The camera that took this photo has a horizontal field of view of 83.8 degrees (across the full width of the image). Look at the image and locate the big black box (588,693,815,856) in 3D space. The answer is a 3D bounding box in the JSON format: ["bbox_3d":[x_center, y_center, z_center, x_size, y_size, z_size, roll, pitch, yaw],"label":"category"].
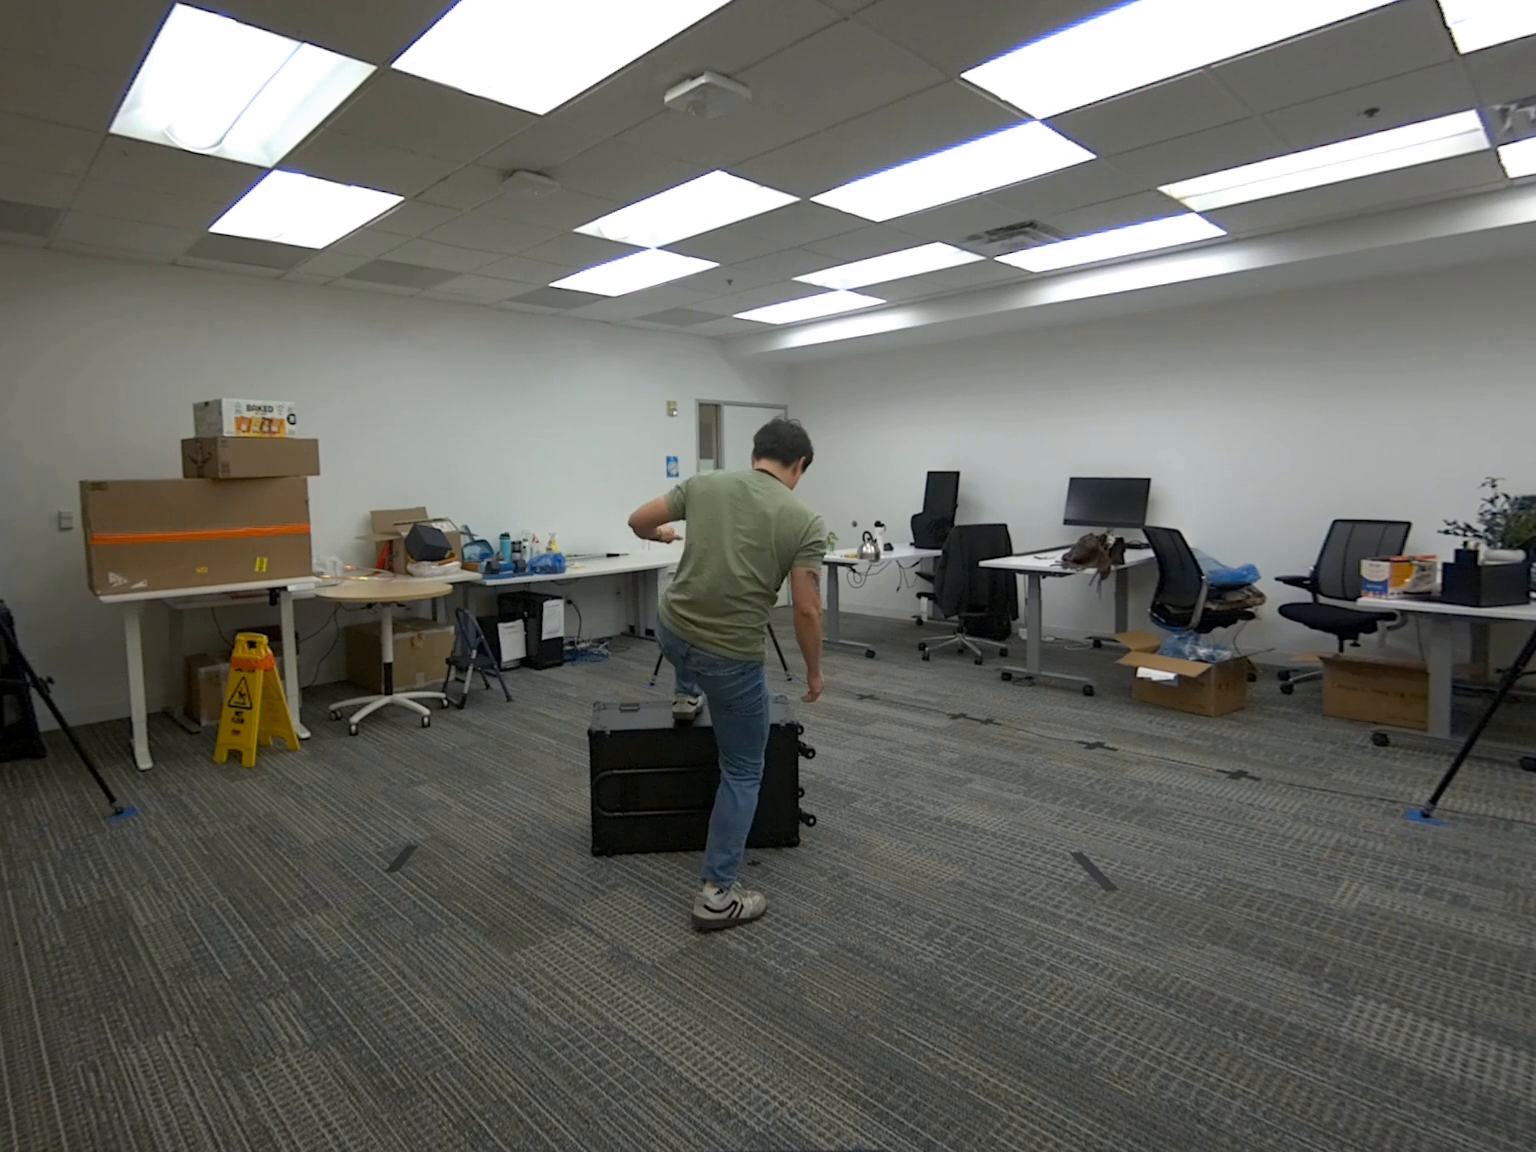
[{"bbox_3d":[-0.261,0.768,3.347,0.857,0.518,0.401,-1,7,-5],"label":"big black box"}]
